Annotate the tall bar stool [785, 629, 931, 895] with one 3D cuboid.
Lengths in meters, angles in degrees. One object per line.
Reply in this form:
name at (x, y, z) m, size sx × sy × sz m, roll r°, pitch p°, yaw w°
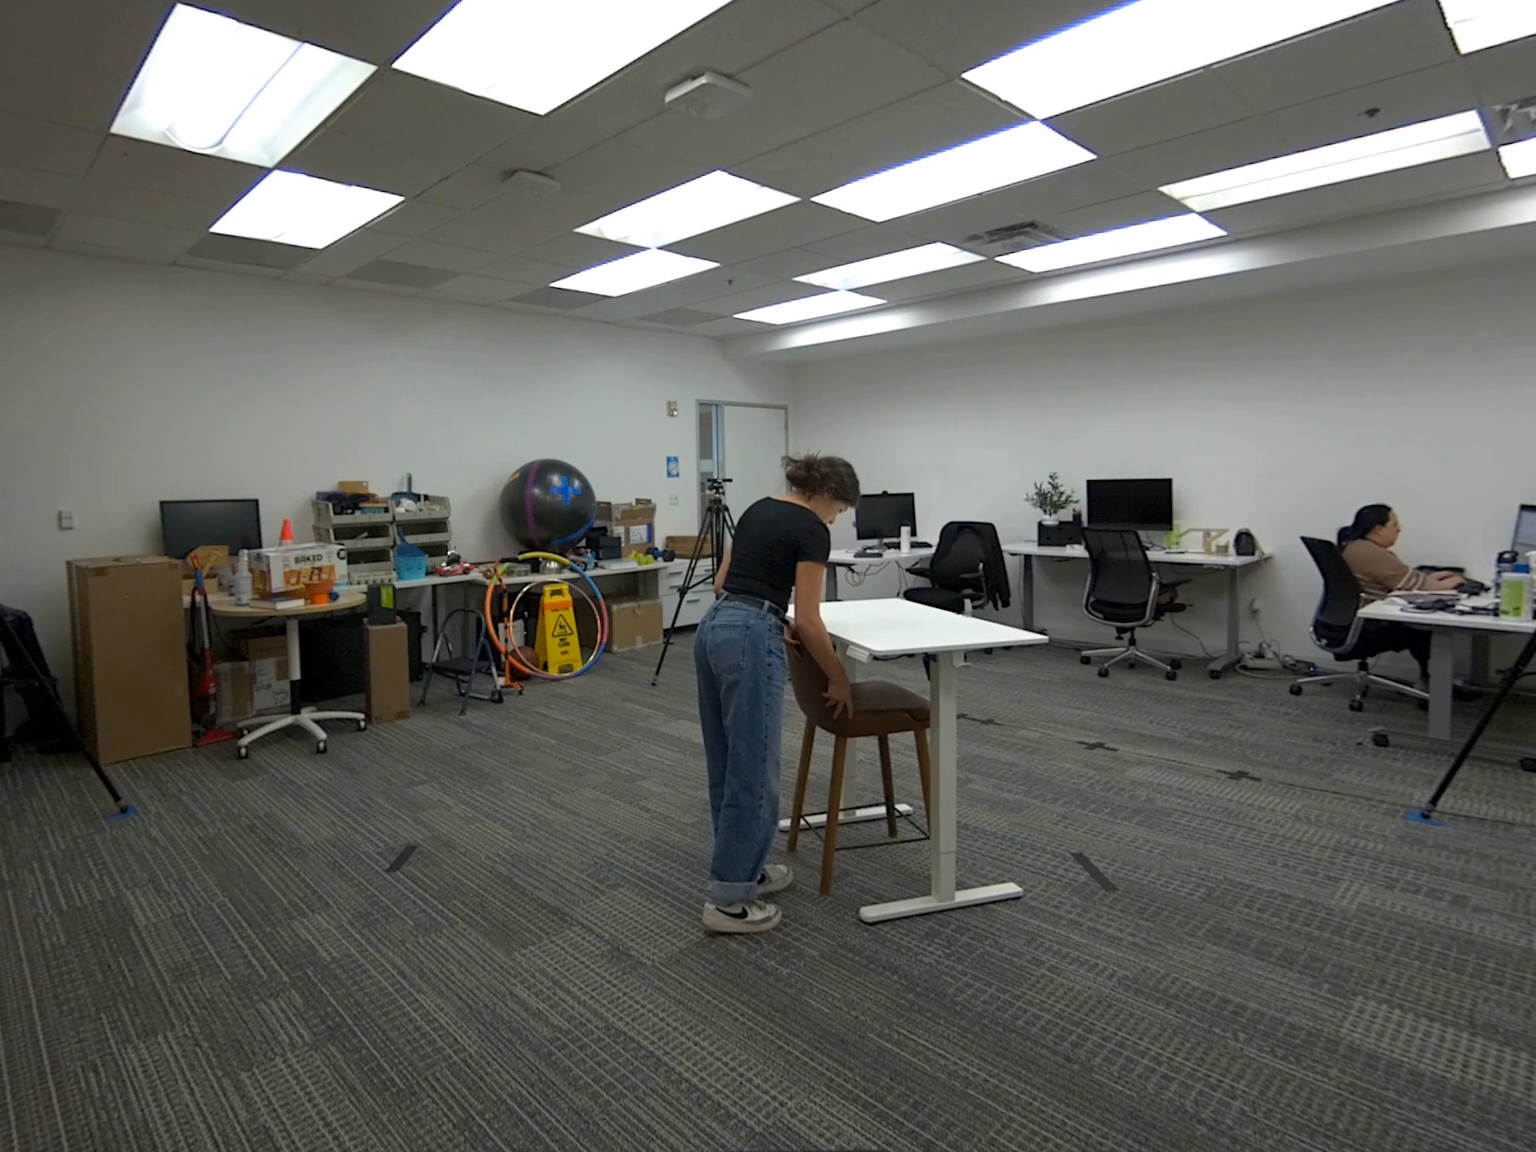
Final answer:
tall bar stool at (0.327, 0.611, 3.062) m, size 0.461 × 0.886 × 0.465 m, roll -4°, pitch 5°, yaw -16°
